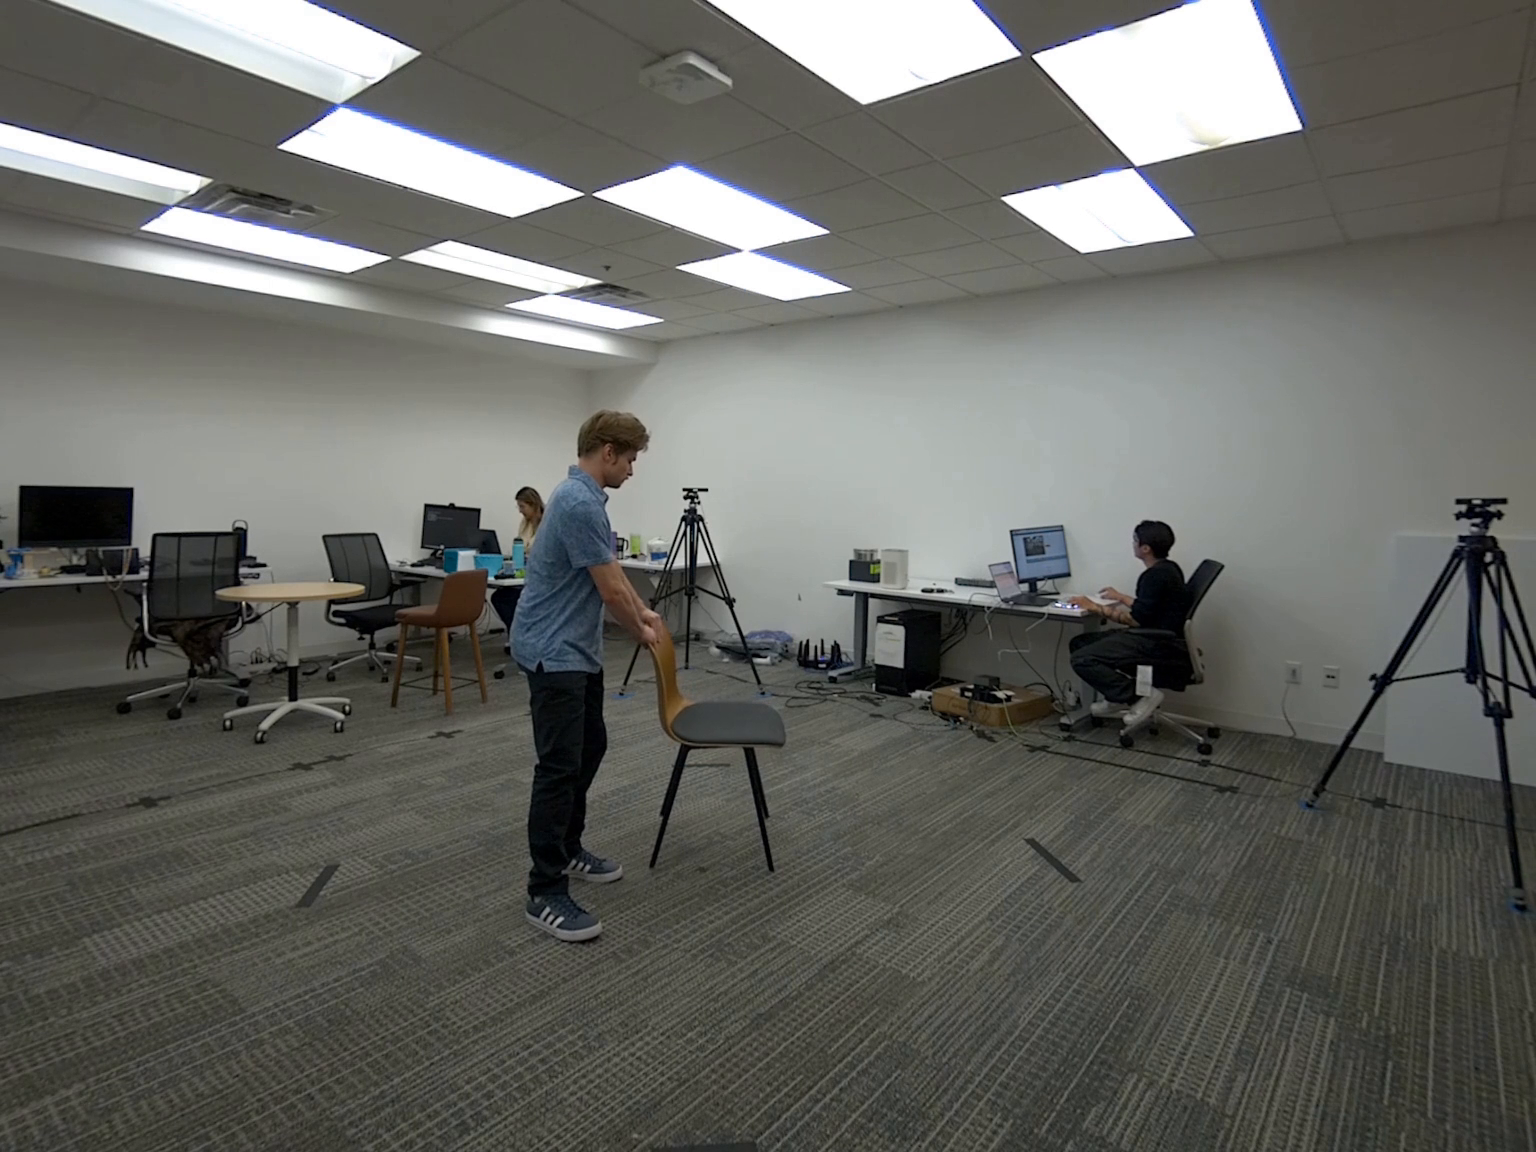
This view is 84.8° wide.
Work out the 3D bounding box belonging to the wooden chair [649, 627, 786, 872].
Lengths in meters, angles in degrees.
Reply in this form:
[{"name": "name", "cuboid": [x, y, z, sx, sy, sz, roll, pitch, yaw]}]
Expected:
[{"name": "wooden chair", "cuboid": [-0.205, 0.615, 3.278, 0.524, 0.872, 0.481, -3, 7, 0]}]
